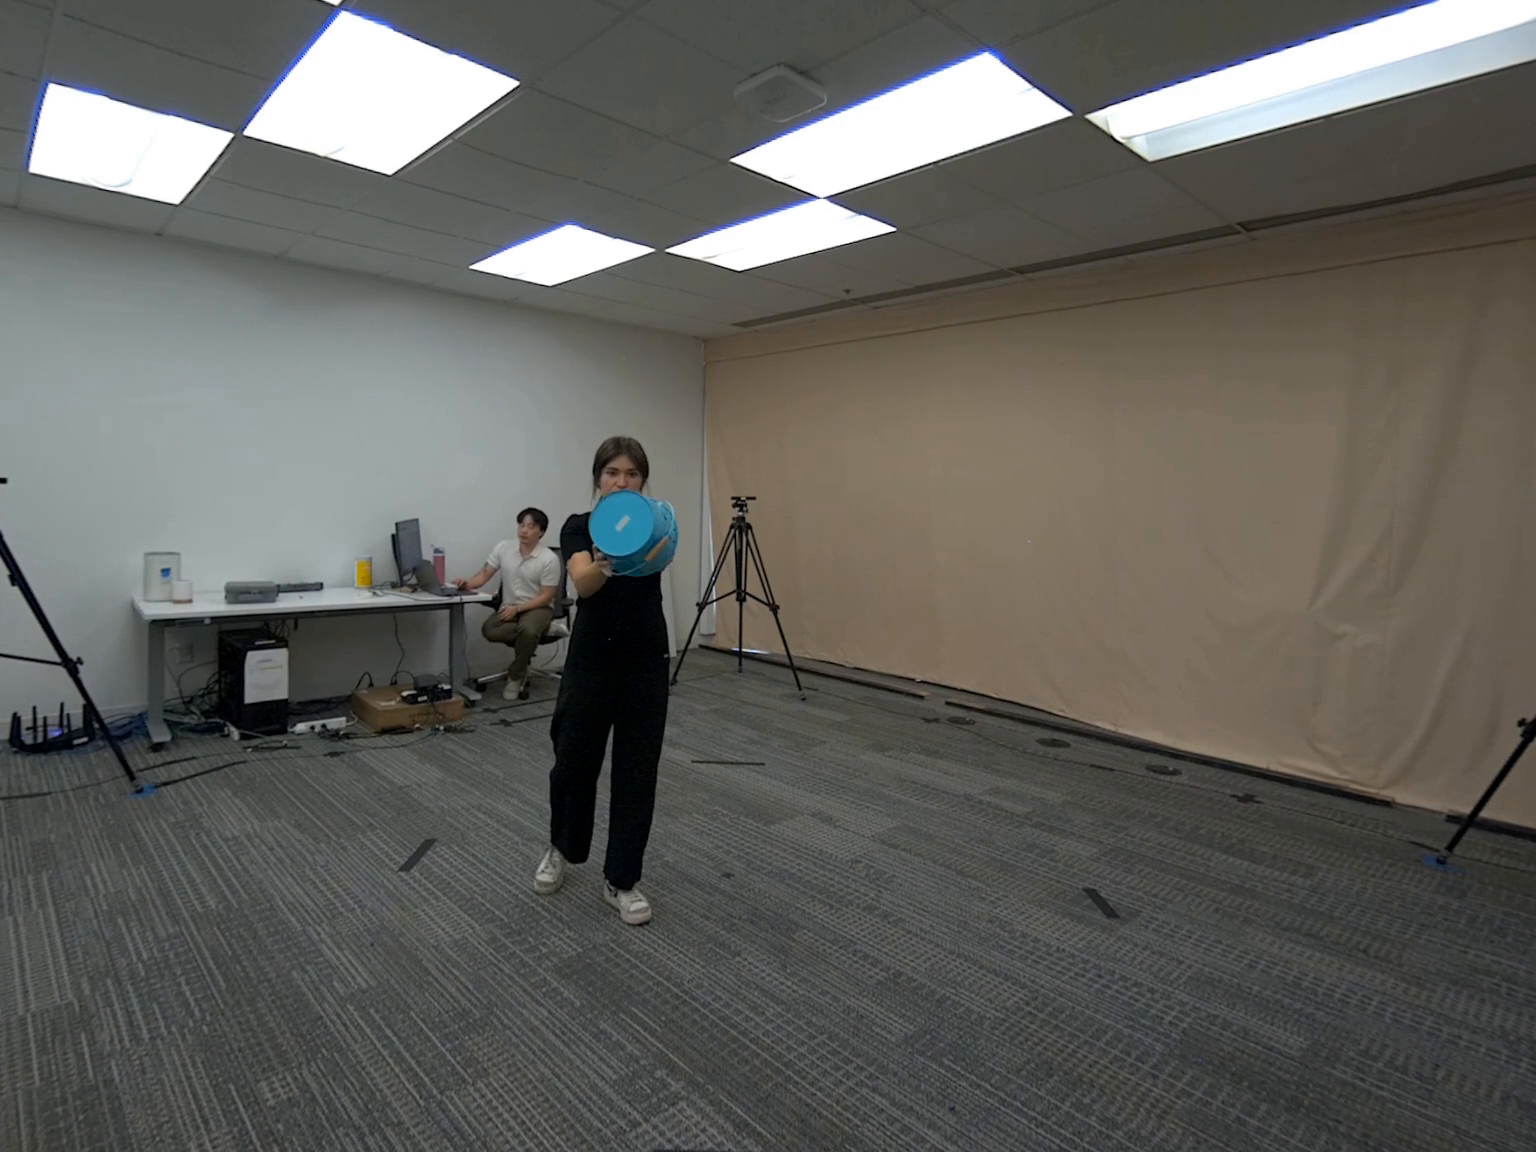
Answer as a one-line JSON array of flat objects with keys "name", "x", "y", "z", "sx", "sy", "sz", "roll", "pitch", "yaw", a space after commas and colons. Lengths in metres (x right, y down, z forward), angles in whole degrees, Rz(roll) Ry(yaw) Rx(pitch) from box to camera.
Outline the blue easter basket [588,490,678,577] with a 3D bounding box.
[{"name": "blue easter basket", "x": -0.379, "y": -0.130, "z": 2.301, "sx": 0.246, "sy": 0.245, "sz": 0.153, "roll": 2, "pitch": -11, "yaw": 10}]
